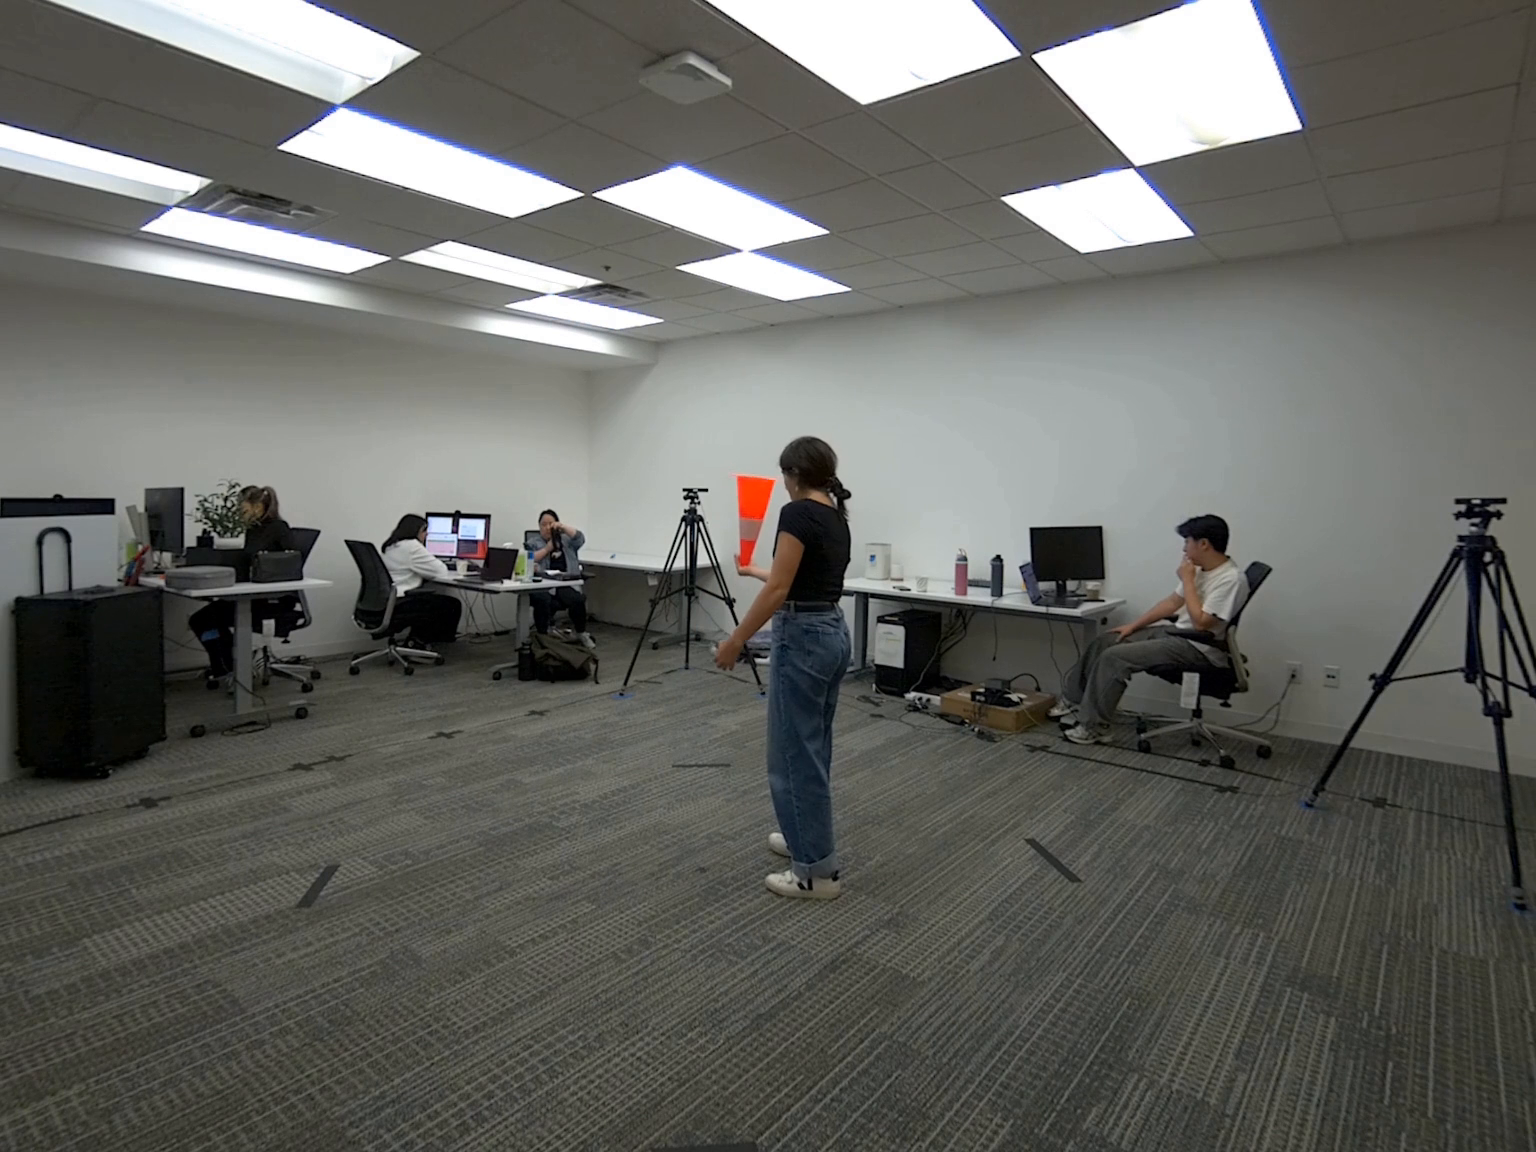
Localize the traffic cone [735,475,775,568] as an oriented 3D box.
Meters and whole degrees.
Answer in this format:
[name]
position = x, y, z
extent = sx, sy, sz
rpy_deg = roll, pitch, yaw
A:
[traffic cone]
position = -0.070, -0.221, 3.501
extent = 0.200, 0.381, 0.209
rpy_deg = 4, 7, -22
